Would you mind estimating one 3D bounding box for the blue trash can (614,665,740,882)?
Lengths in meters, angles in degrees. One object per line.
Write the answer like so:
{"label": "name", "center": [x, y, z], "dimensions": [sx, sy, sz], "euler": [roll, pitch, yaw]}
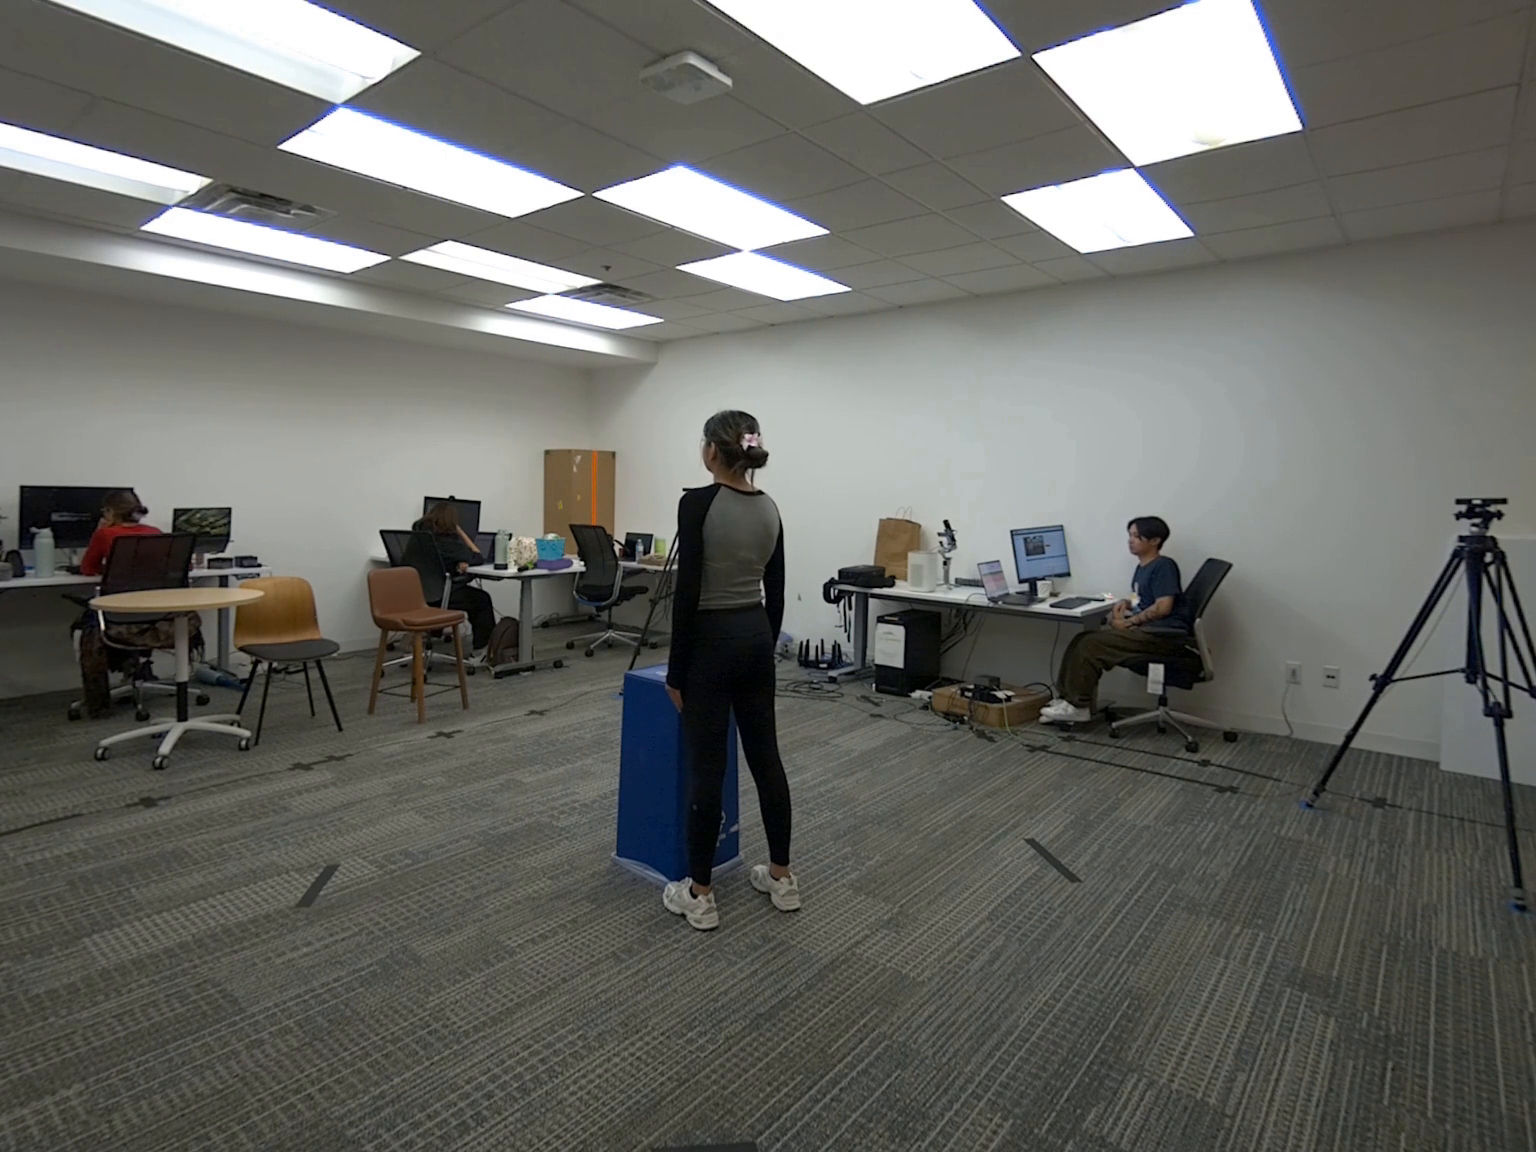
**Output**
{"label": "blue trash can", "center": [-0.350, 0.710, 3.163], "dimensions": [0.391, 0.712, 0.363], "euler": [3, 4, 43]}
